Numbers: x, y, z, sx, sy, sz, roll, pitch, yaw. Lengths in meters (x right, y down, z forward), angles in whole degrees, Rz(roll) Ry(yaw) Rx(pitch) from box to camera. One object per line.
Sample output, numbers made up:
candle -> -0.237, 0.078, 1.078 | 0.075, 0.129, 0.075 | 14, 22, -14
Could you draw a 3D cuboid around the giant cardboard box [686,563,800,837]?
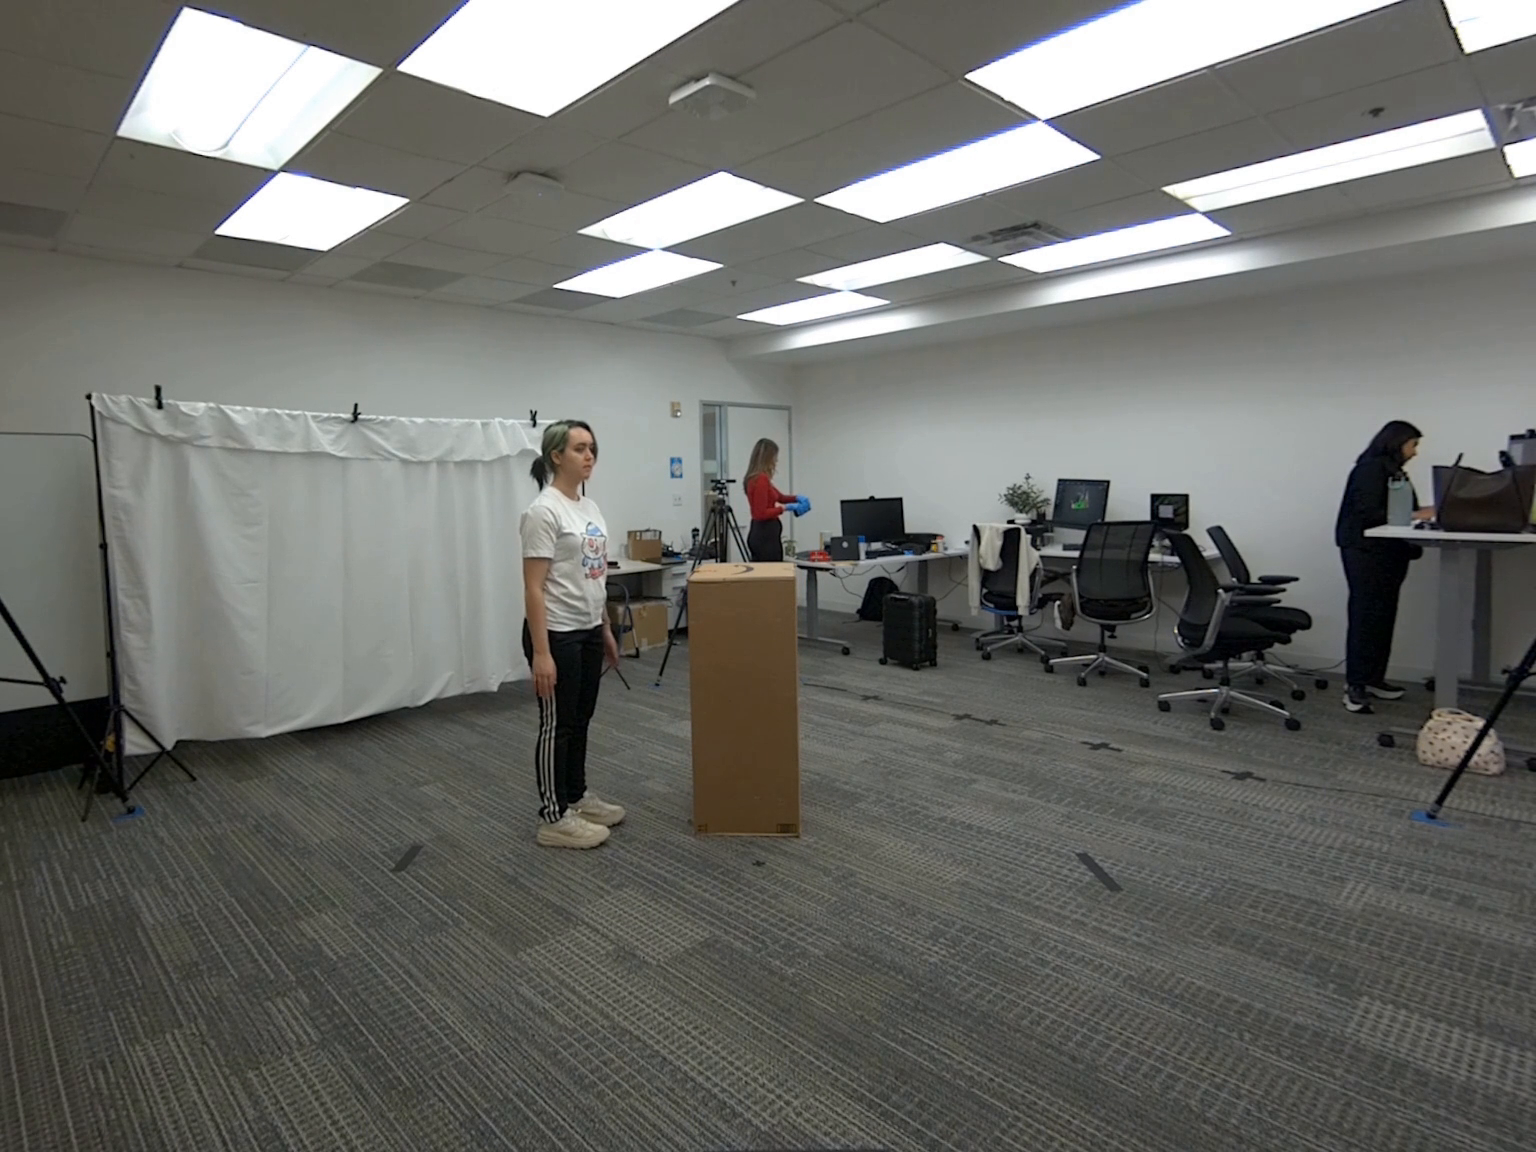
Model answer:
giant cardboard box -> -0.092, 0.485, 3.608 | 0.428, 1.022, 0.577 | 0, 4, 3
